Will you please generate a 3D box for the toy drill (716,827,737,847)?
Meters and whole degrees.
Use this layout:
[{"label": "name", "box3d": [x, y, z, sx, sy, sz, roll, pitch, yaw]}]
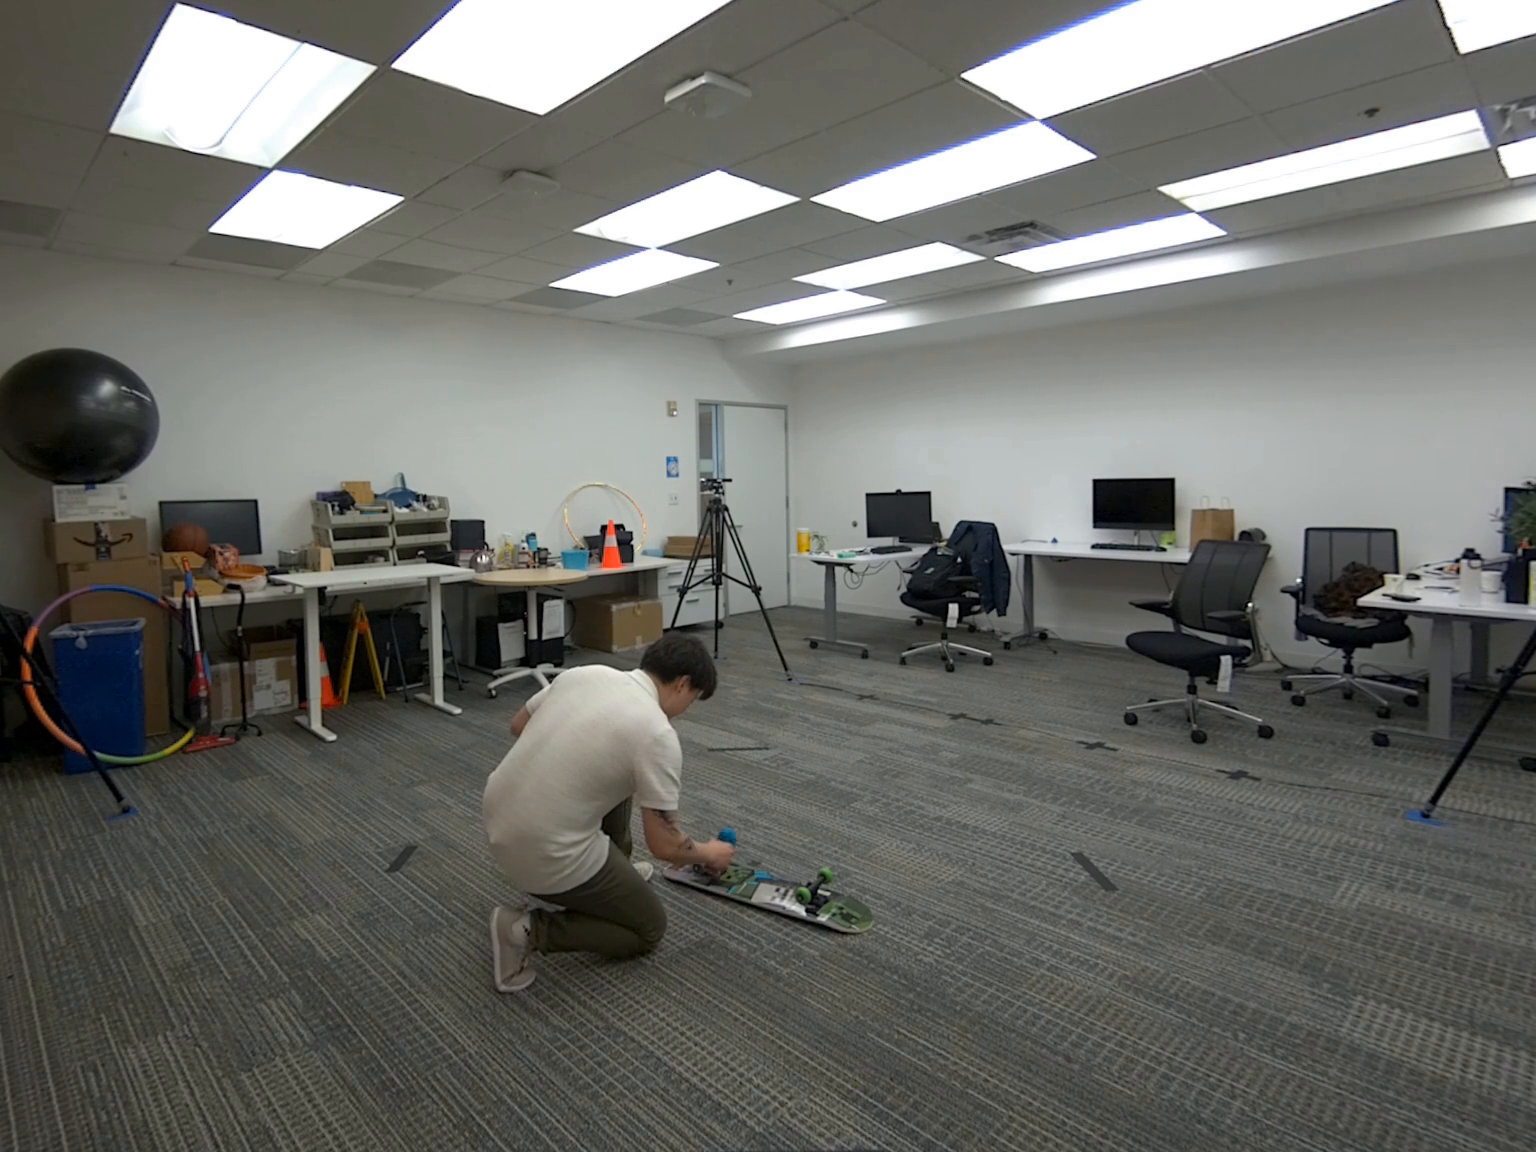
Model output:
[{"label": "toy drill", "box3d": [-0.143, 0.861, 2.672, 0.062, 0.146, 0.165, 26, -25, 16]}]
